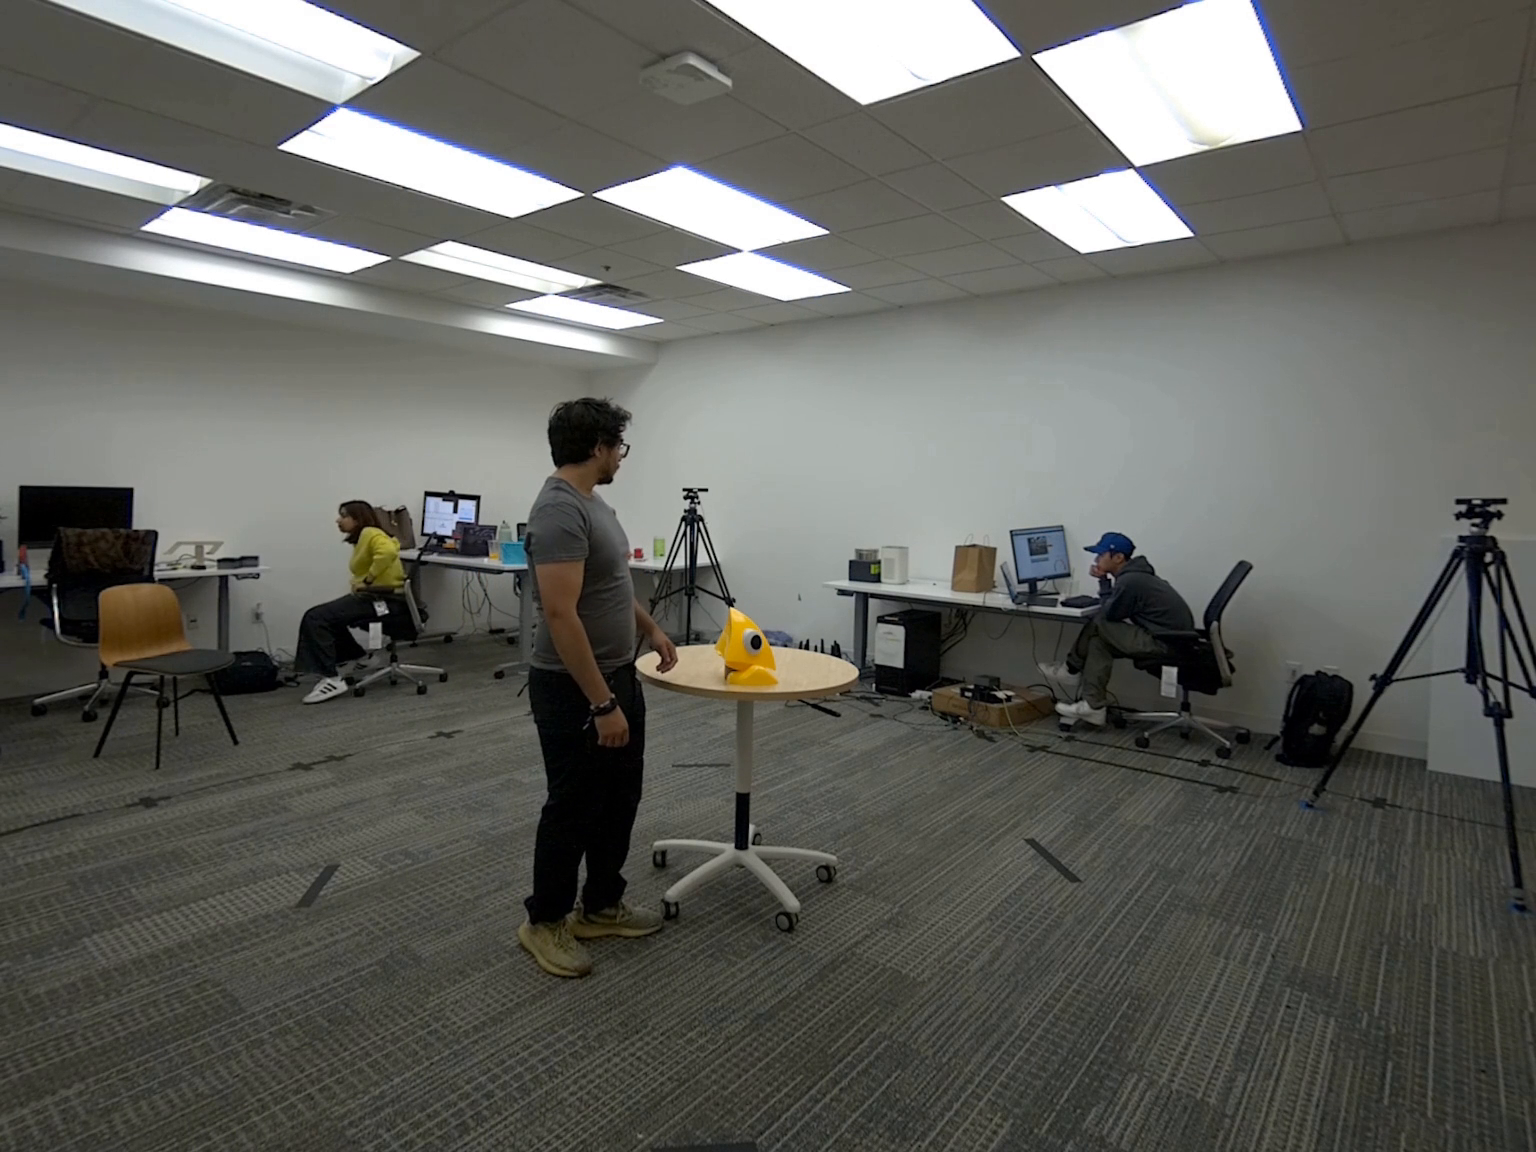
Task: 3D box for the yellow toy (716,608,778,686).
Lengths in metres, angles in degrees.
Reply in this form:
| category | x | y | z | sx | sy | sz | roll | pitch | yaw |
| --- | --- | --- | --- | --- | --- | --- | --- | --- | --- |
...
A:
| category | x | y | z | sx | sy | sz | roll | pitch | yaw |
| --- | --- | --- | --- | --- | --- | --- | --- | --- | --- |
| yellow toy | -0.072 | 0.213 | 2.733 | 0.191 | 0.230 | 0.208 | 0 | 4 | -12 |
